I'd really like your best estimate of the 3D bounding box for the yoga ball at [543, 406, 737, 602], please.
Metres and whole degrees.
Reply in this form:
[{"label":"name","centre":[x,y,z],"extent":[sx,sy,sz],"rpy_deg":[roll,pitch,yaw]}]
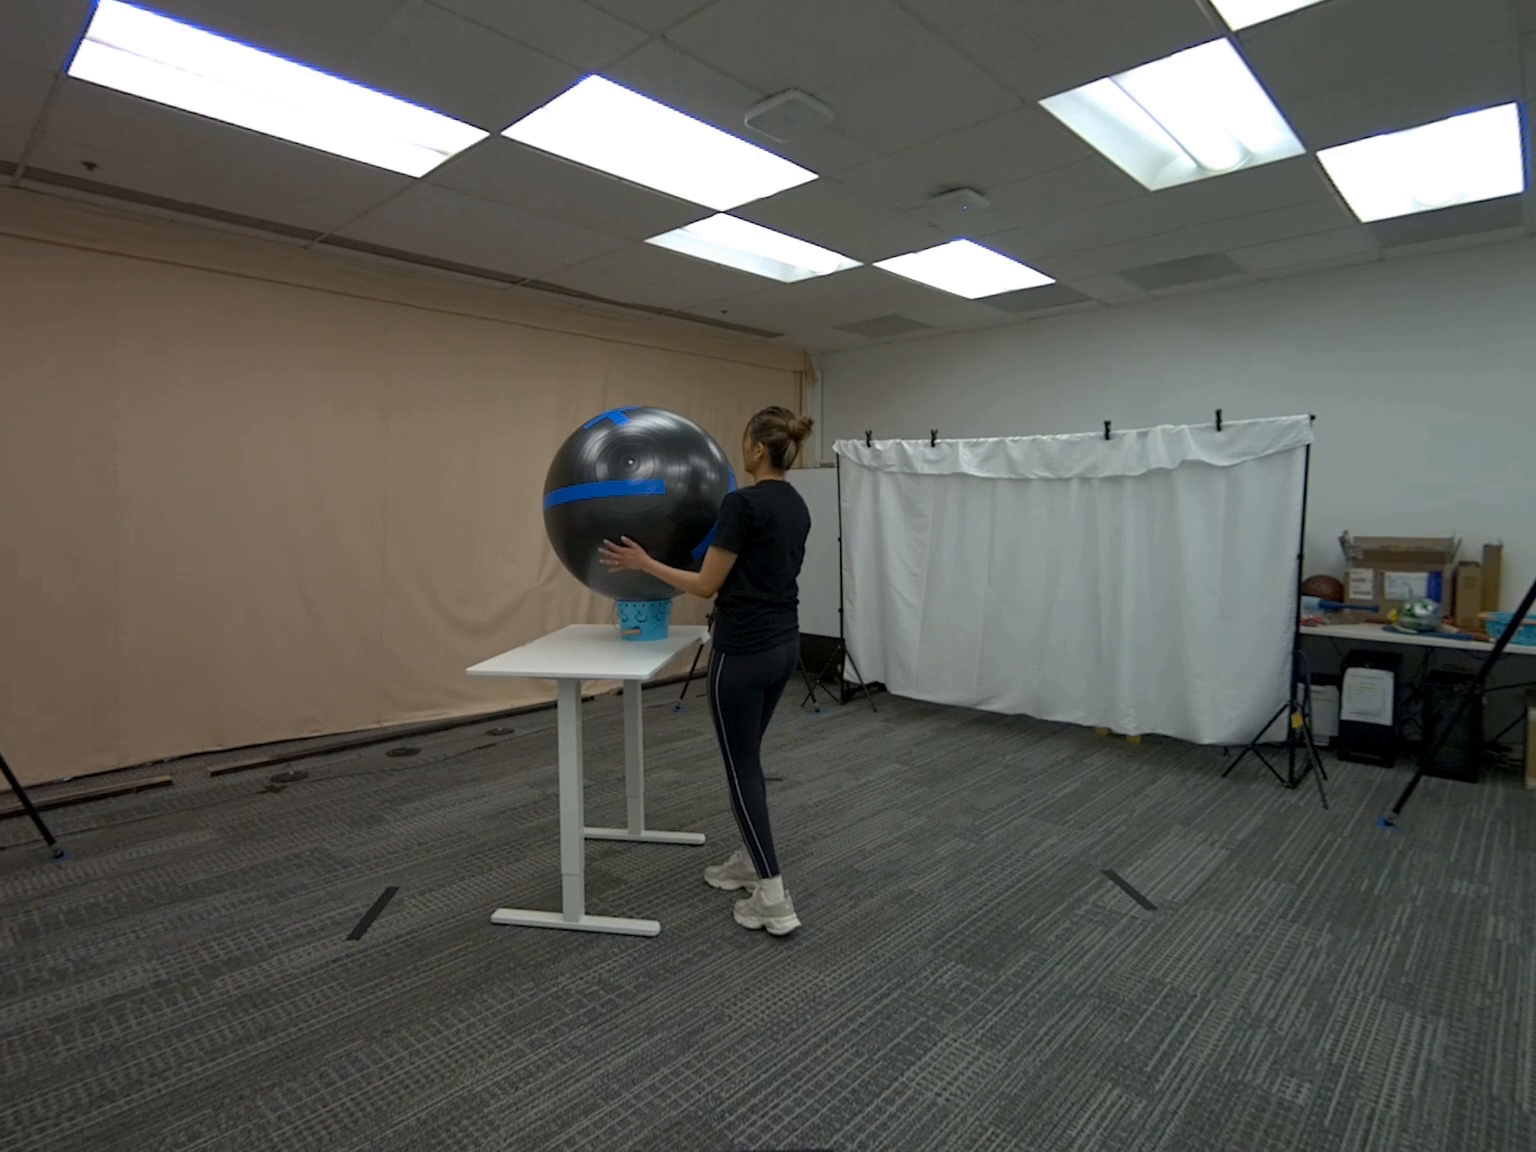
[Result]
[{"label":"yoga ball","centre":[-0.489,-0.271,3.268],"extent":[0.757,0.756,0.761],"rpy_deg":[0,4,-2]}]
